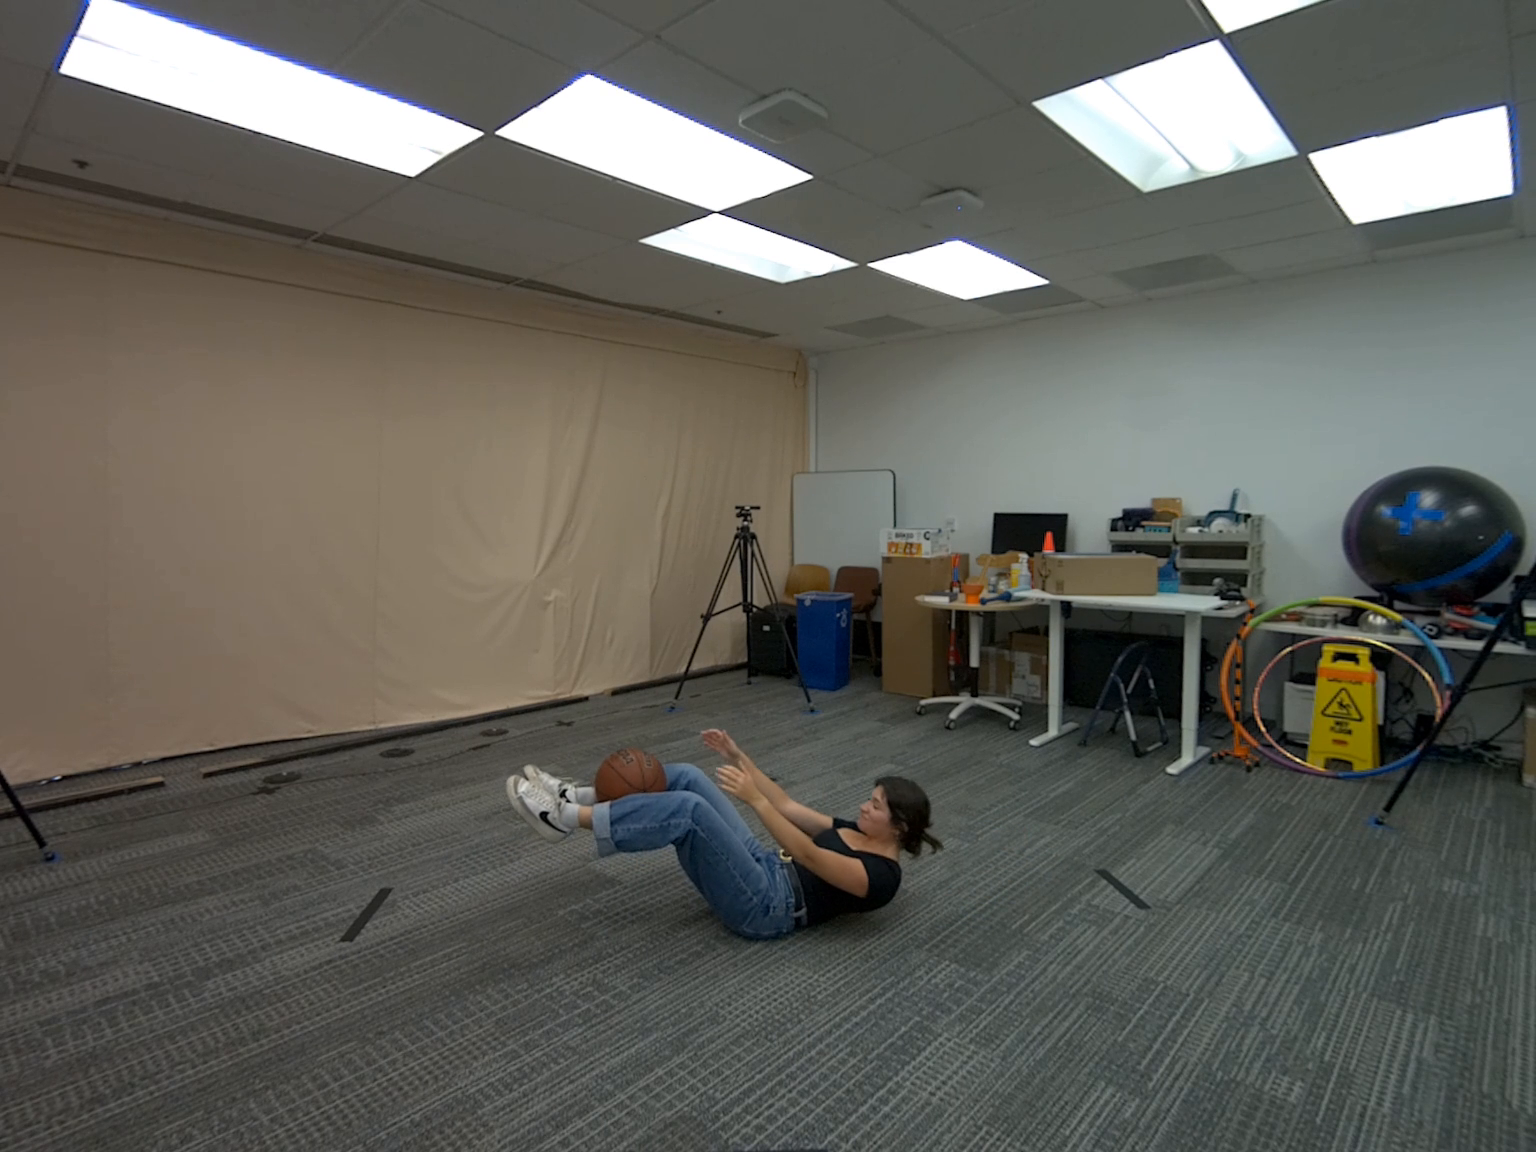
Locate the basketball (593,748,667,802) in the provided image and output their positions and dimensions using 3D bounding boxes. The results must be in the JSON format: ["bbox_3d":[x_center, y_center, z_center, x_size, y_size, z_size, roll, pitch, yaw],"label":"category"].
[{"bbox_3d":[-0.443,0.688,2.789,0.236,0.235,0.237,0,4,-2],"label":"basketball"}]
